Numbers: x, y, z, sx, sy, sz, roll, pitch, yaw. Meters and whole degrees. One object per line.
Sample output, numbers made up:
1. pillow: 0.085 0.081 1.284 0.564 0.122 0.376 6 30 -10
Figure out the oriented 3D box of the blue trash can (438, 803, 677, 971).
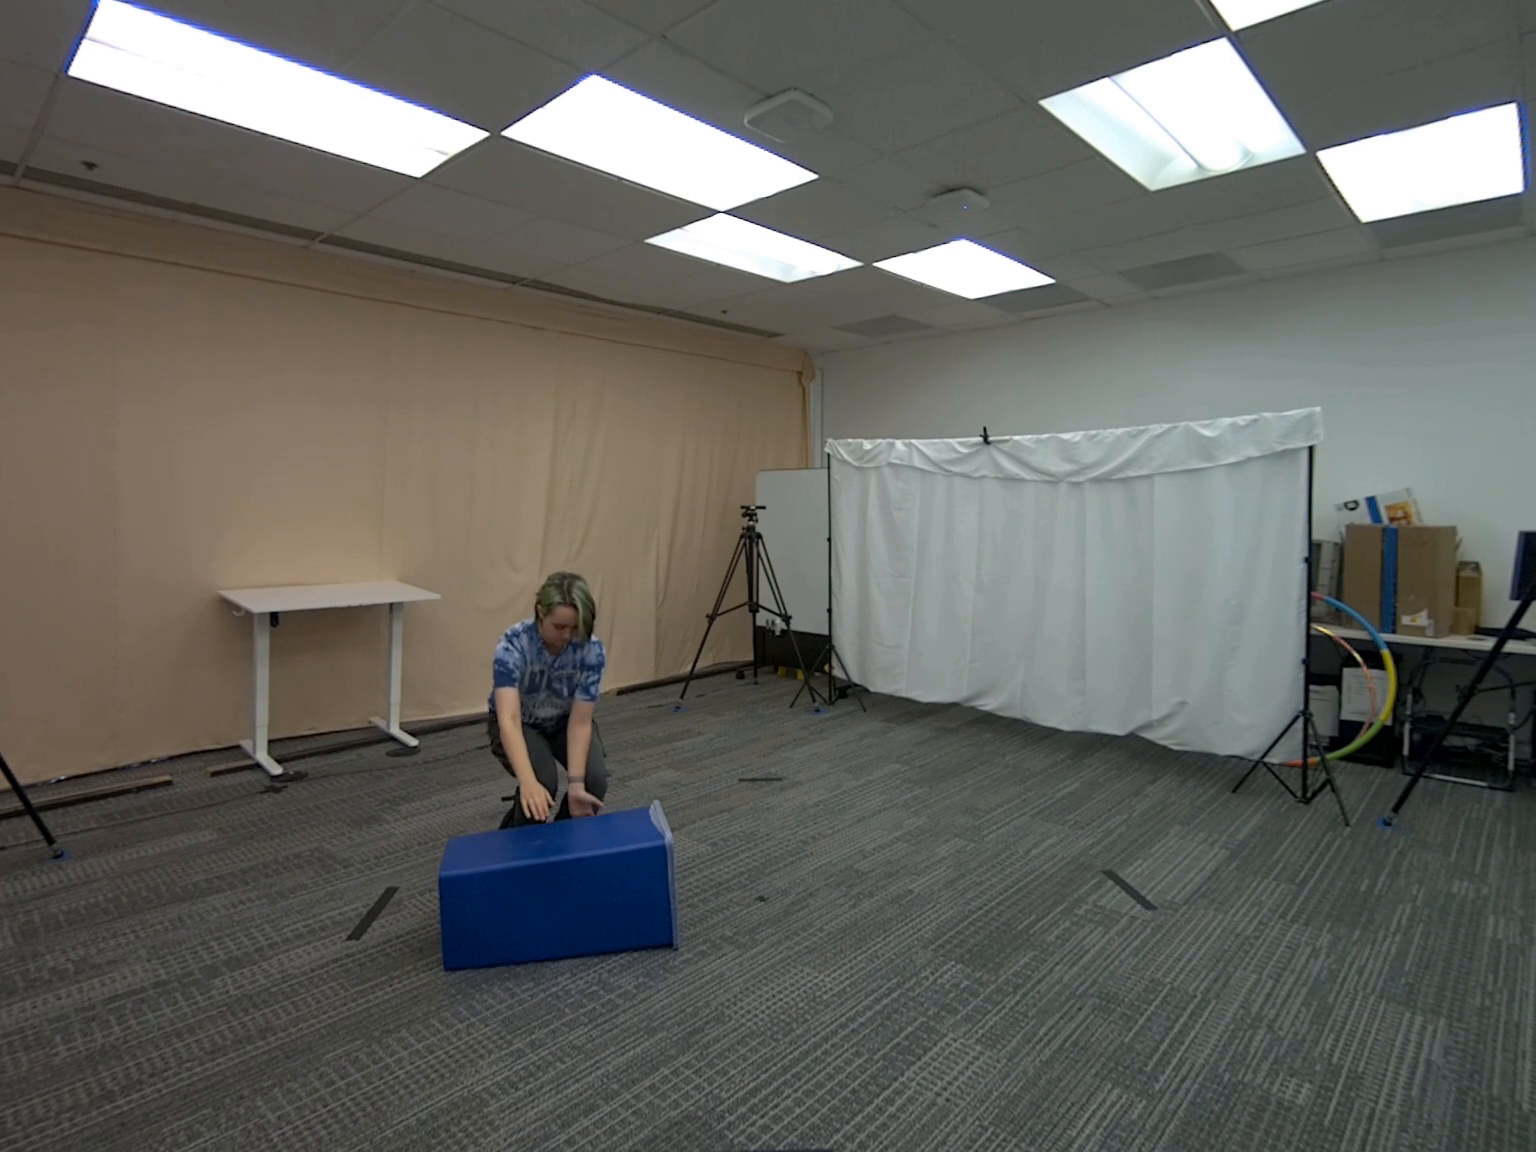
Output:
1. blue trash can: -0.667 0.991 2.720 0.704 0.373 0.384 -3 4 -13
